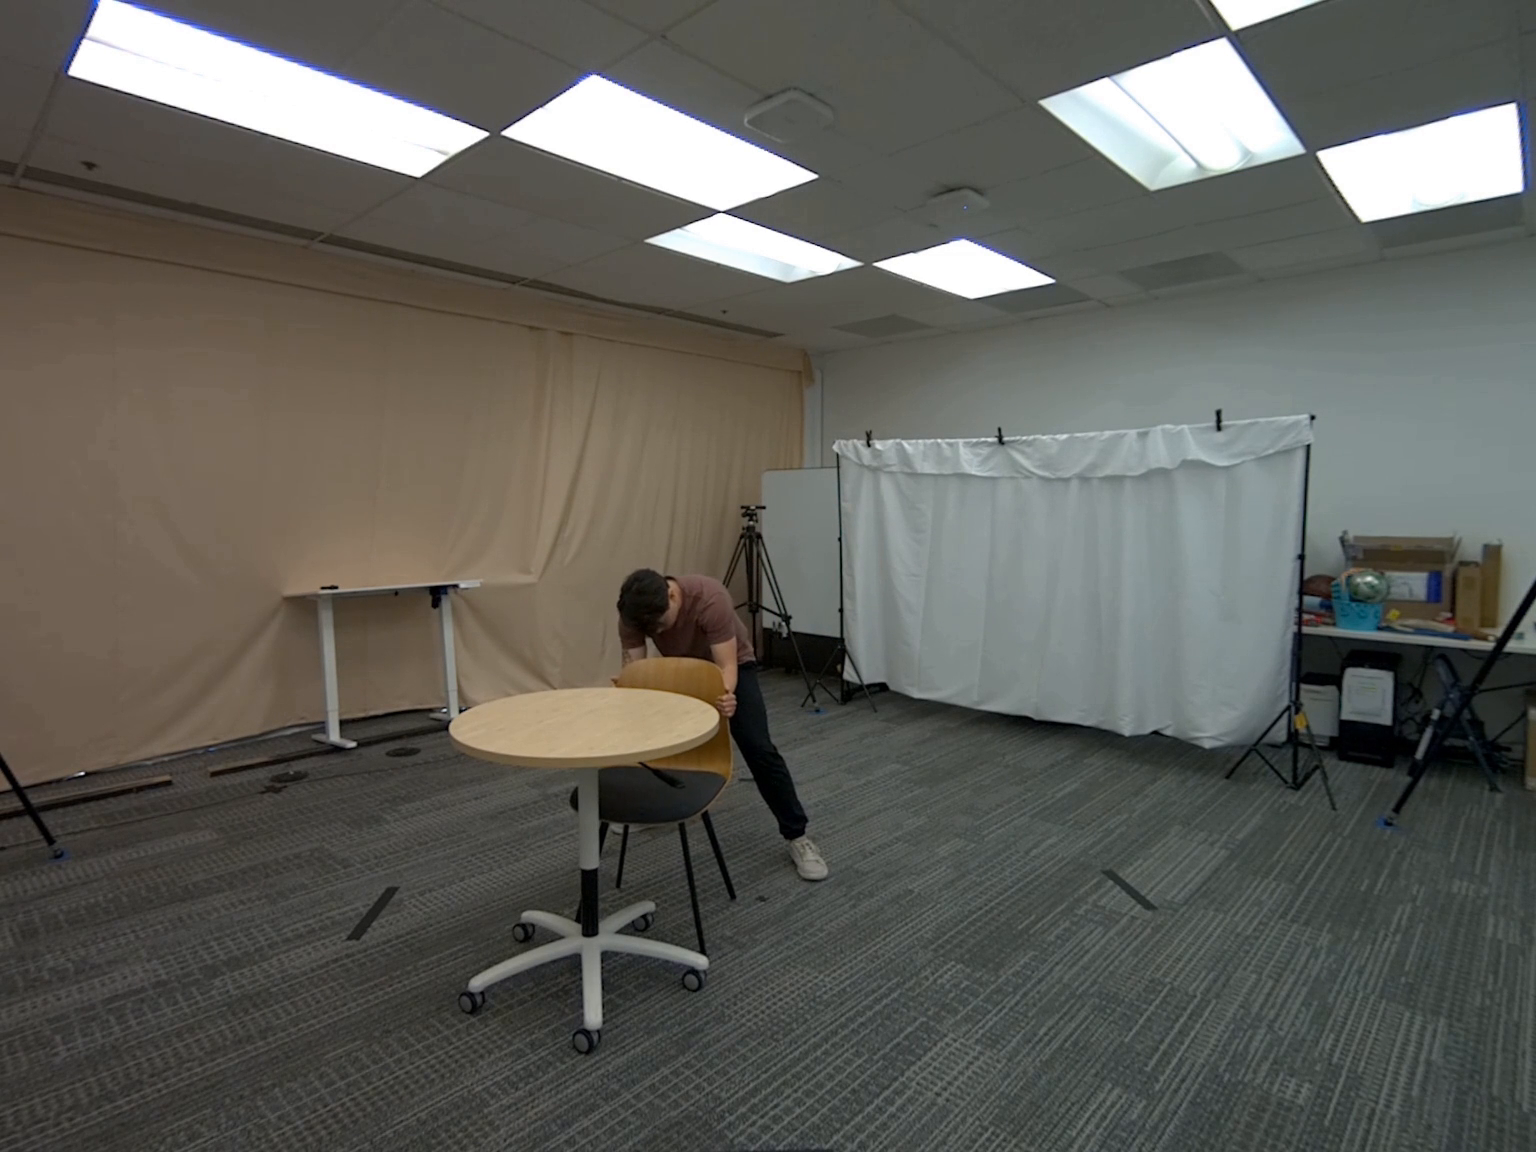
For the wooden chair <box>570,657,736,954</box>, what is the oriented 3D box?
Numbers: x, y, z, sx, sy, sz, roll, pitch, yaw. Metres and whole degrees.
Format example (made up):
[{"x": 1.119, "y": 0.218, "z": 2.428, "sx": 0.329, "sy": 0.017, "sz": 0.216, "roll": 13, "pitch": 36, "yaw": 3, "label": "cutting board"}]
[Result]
[{"x": -0.366, "y": 0.733, "z": 2.785, "sx": 0.485, "sy": 0.878, "sz": 0.515, "roll": 1, "pitch": -1, "yaw": 13, "label": "wooden chair"}]
